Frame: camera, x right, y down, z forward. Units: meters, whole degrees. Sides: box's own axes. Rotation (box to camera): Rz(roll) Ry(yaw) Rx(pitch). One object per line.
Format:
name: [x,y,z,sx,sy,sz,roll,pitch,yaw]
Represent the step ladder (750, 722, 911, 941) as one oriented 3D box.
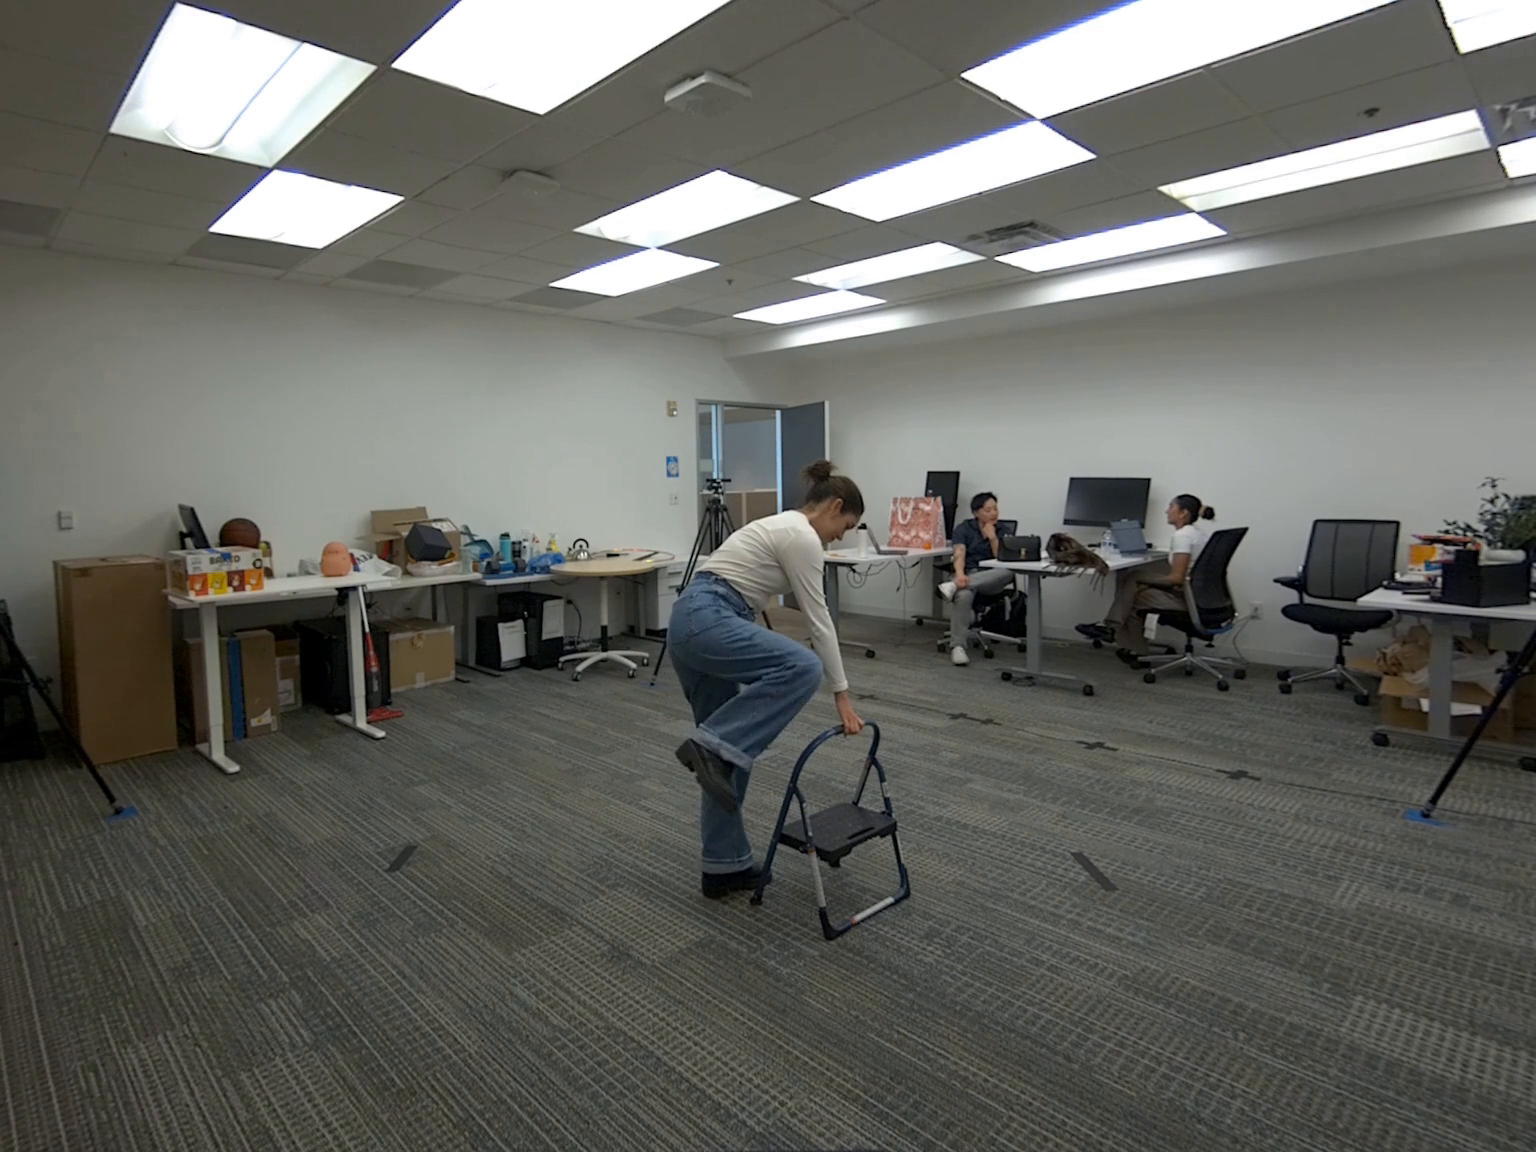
step ladder: [0.209,0.770,2.812,0.419,0.604,0.360,-5,6,-44]
